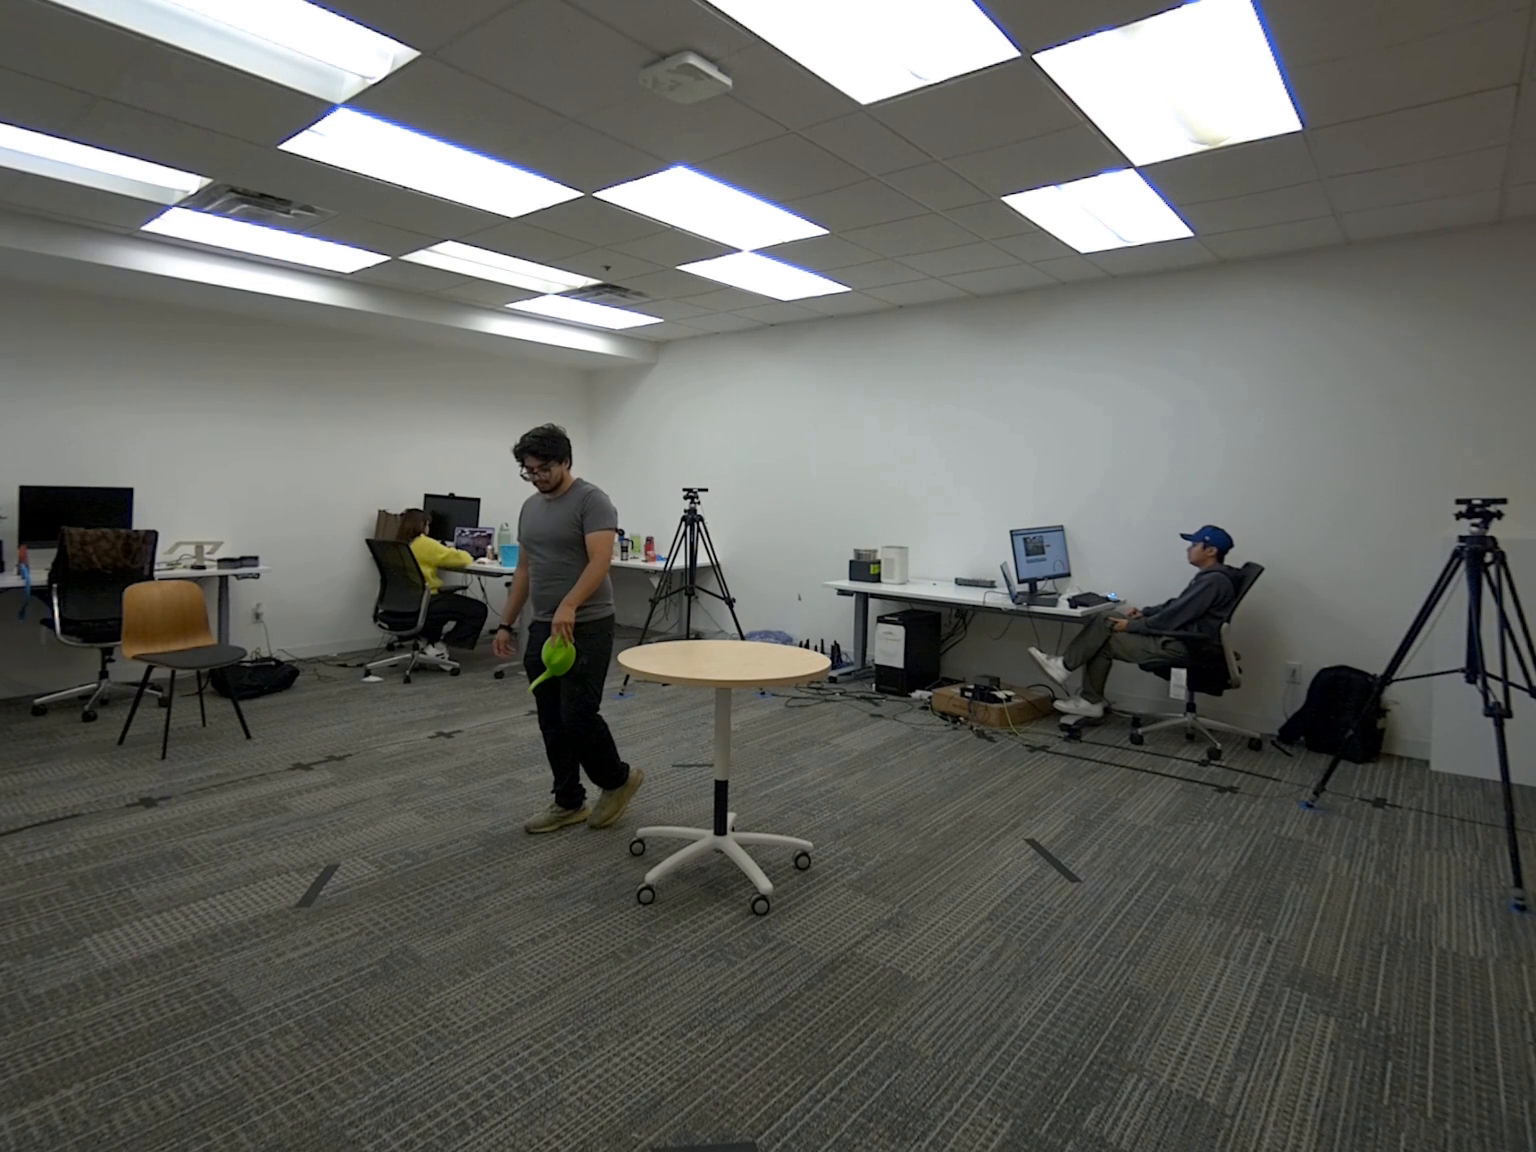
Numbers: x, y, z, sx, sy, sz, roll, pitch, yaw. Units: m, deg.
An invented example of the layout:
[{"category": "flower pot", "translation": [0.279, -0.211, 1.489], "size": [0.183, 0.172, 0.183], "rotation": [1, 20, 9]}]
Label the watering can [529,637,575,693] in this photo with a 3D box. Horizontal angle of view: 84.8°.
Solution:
[{"category": "watering can", "translation": [-0.810, 0.308, 3.060], "size": [0.100, 0.278, 0.173], "rotation": [33, -23, 13]}]
